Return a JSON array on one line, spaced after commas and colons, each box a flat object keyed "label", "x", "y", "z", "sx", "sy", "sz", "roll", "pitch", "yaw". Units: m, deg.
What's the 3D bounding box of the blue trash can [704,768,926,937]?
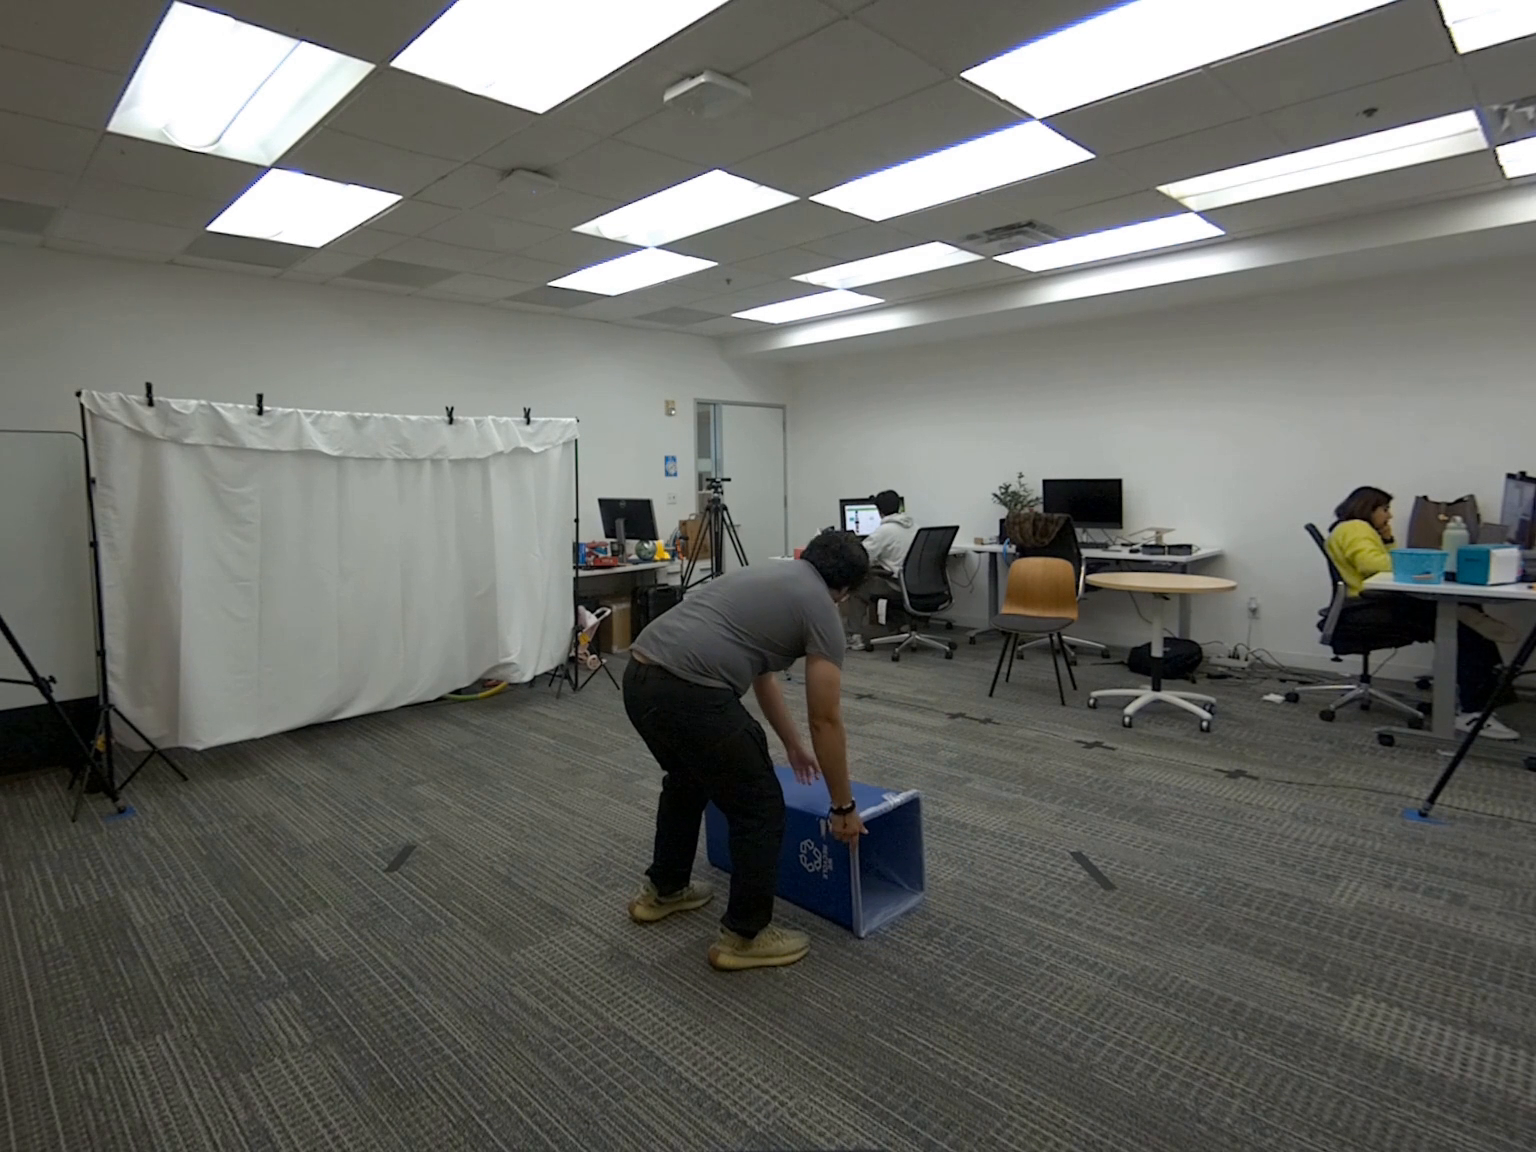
[{"label": "blue trash can", "x": 0.142, "y": 0.889, "z": 2.955, "sx": 0.364, "sy": 0.377, "sz": 0.735, "roll": -7, "pitch": 7, "yaw": -44}]
